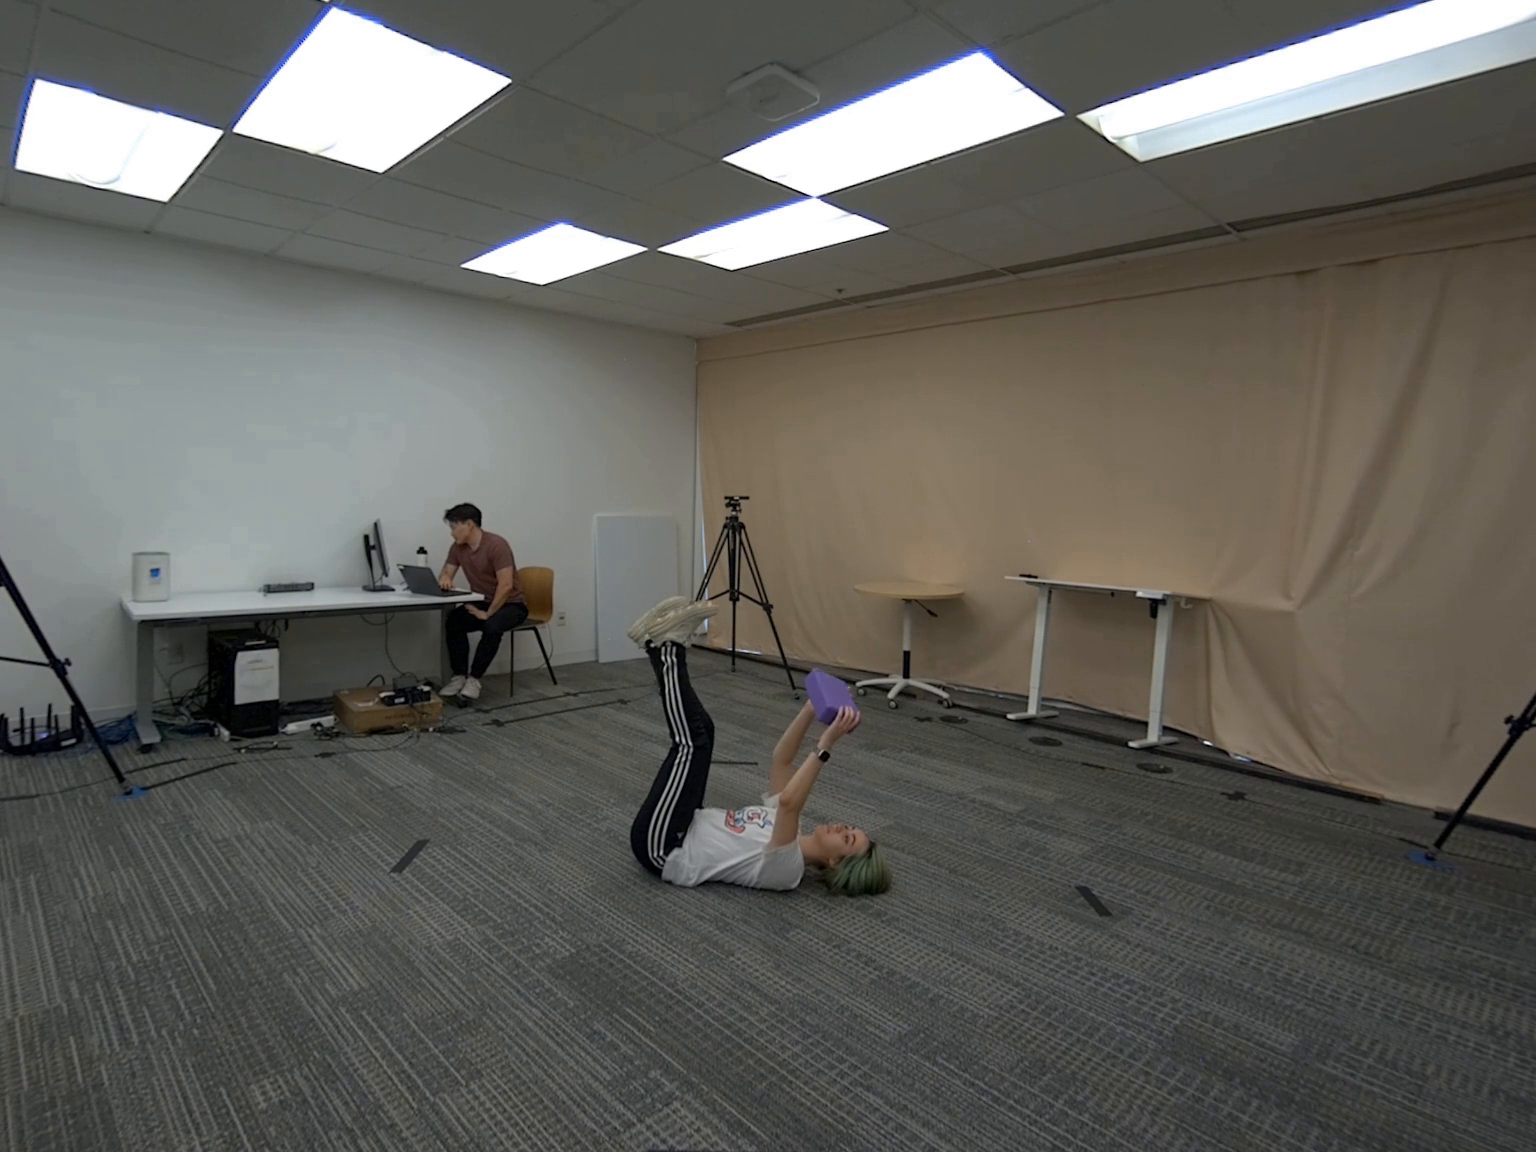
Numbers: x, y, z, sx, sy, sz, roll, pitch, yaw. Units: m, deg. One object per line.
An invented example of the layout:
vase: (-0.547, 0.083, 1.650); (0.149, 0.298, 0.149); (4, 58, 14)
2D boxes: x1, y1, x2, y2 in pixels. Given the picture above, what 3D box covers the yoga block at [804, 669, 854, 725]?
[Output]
yoga block: (0.222, 0.448, 3.010); (0.146, 0.076, 0.235); (24, 21, -24)
